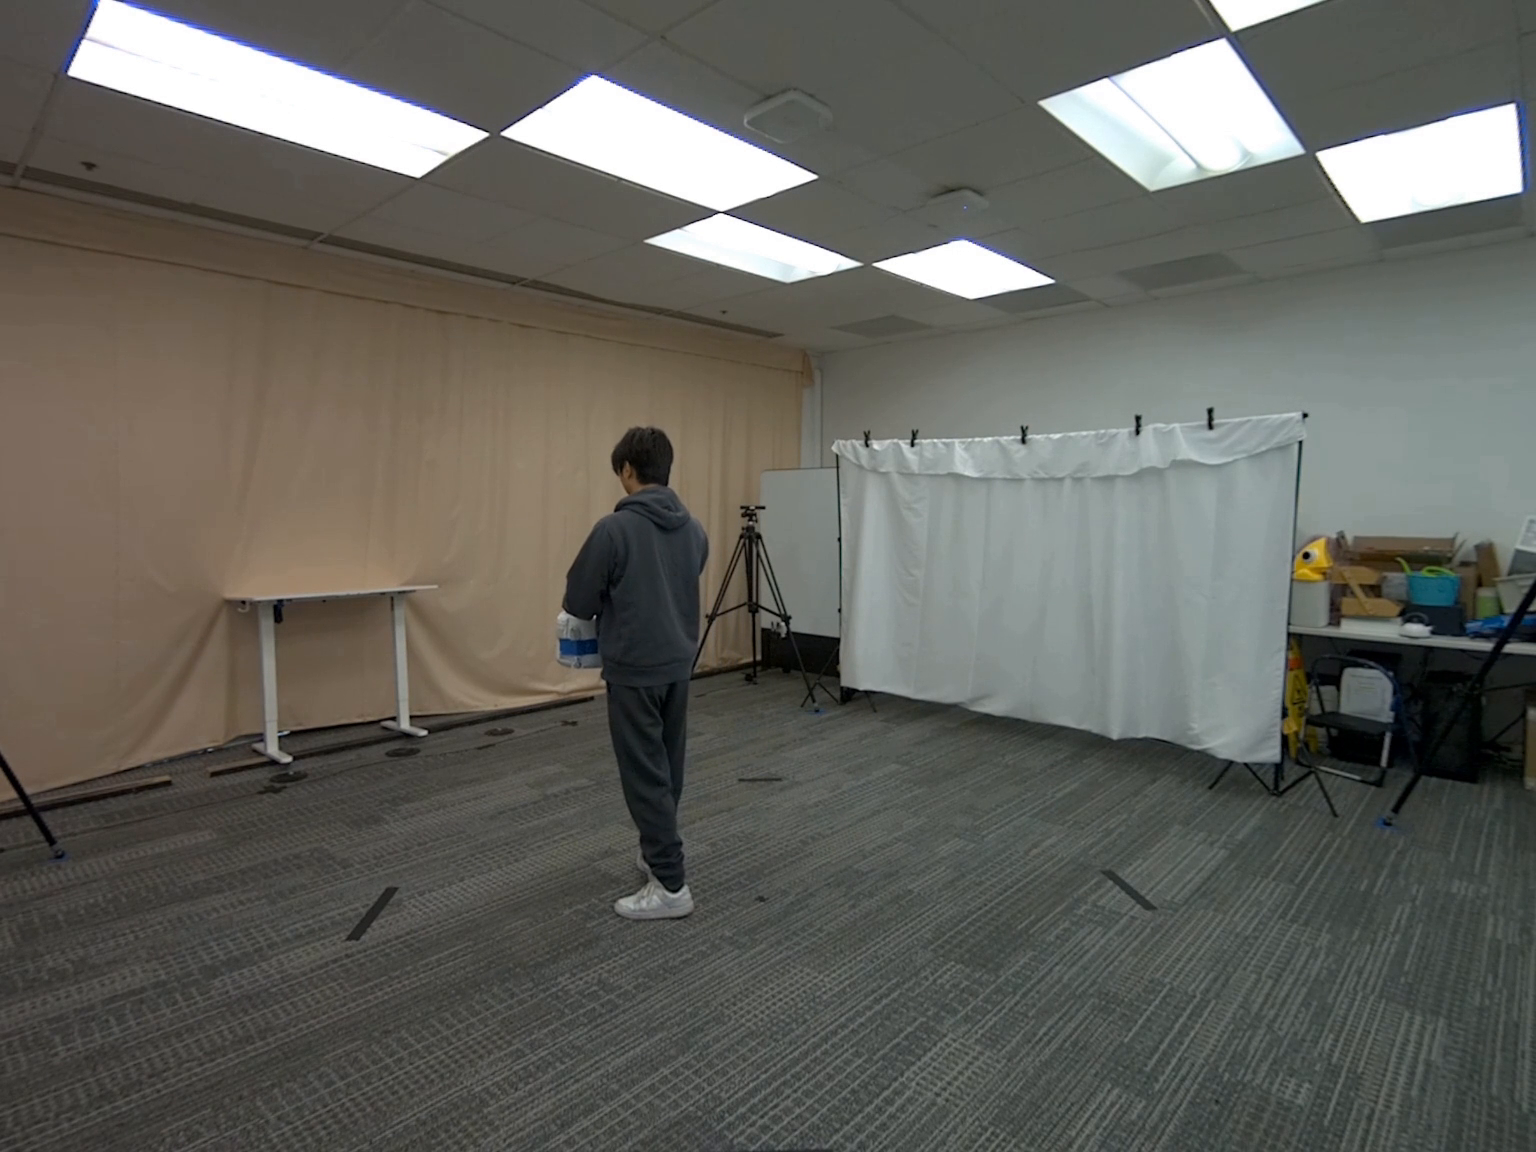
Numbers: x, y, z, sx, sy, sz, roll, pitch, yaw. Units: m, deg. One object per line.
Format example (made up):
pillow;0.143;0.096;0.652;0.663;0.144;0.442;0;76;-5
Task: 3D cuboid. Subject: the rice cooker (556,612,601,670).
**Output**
rice cooker;-0.692;0.227;3.189;0.213;0.233;0.225;5;0;-42
